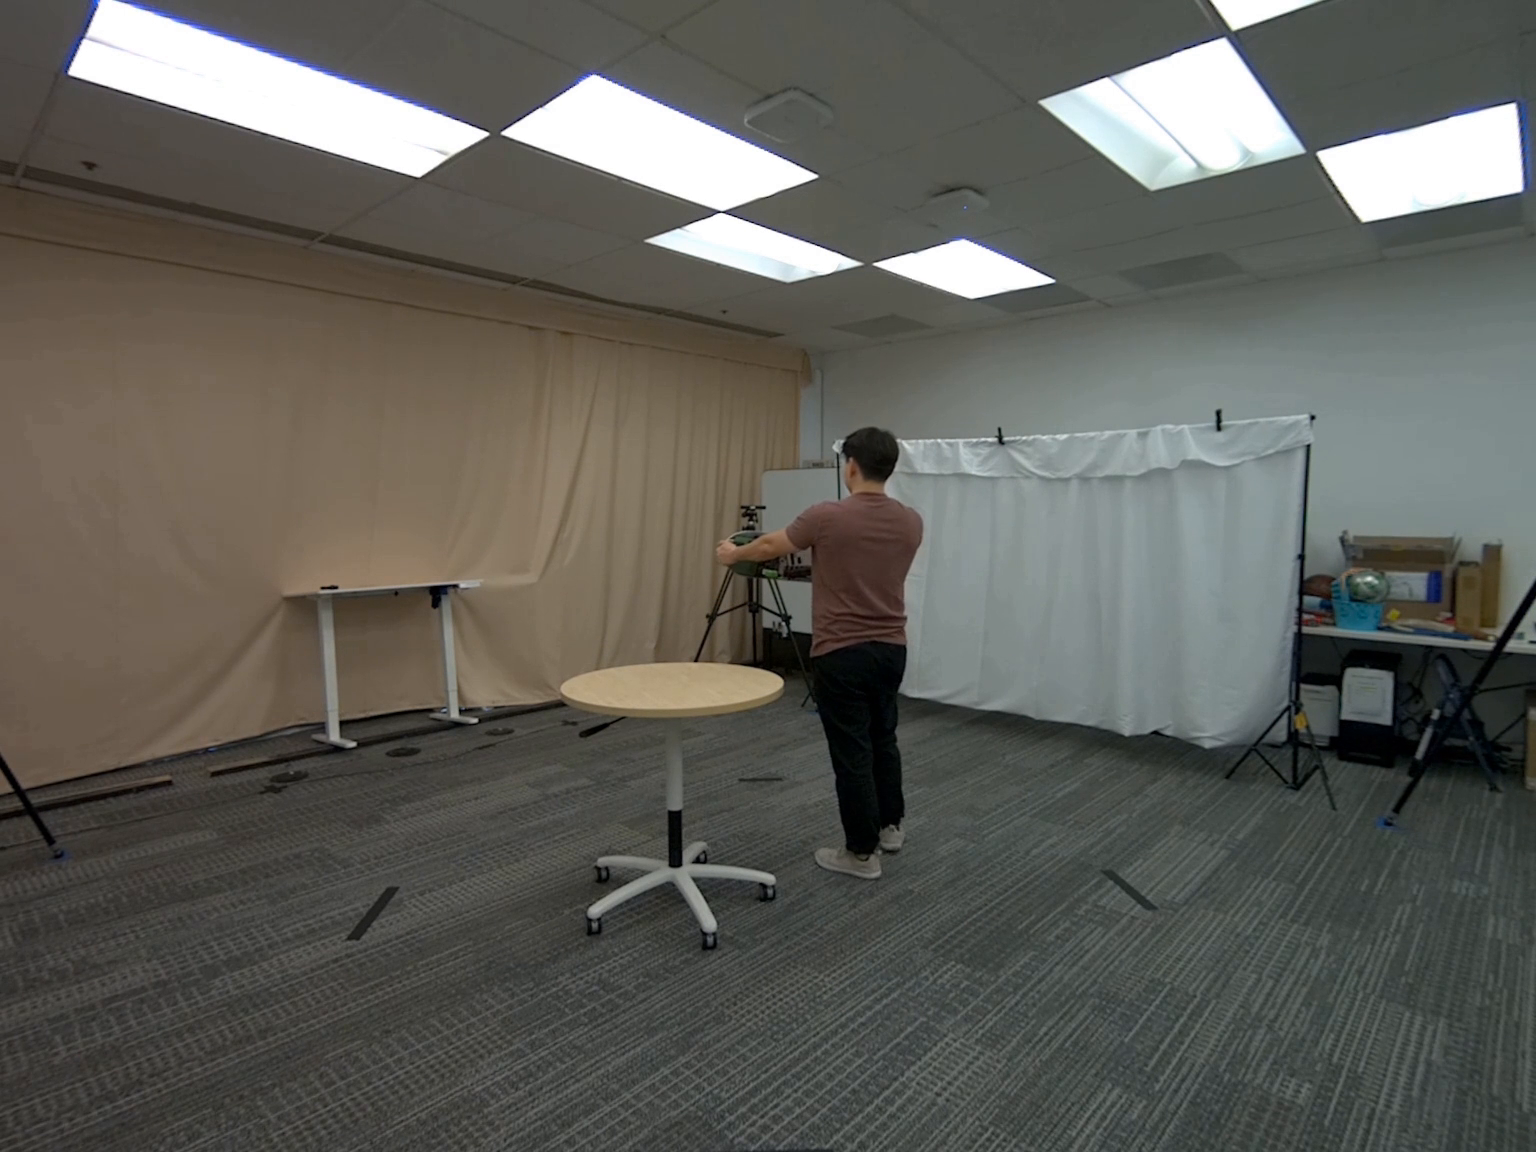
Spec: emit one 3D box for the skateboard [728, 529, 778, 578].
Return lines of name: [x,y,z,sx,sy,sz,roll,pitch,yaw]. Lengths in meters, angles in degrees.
skateboard: [0.204,-0.069,3.567,0.770,0.193,0.112,6,-2,-18]
